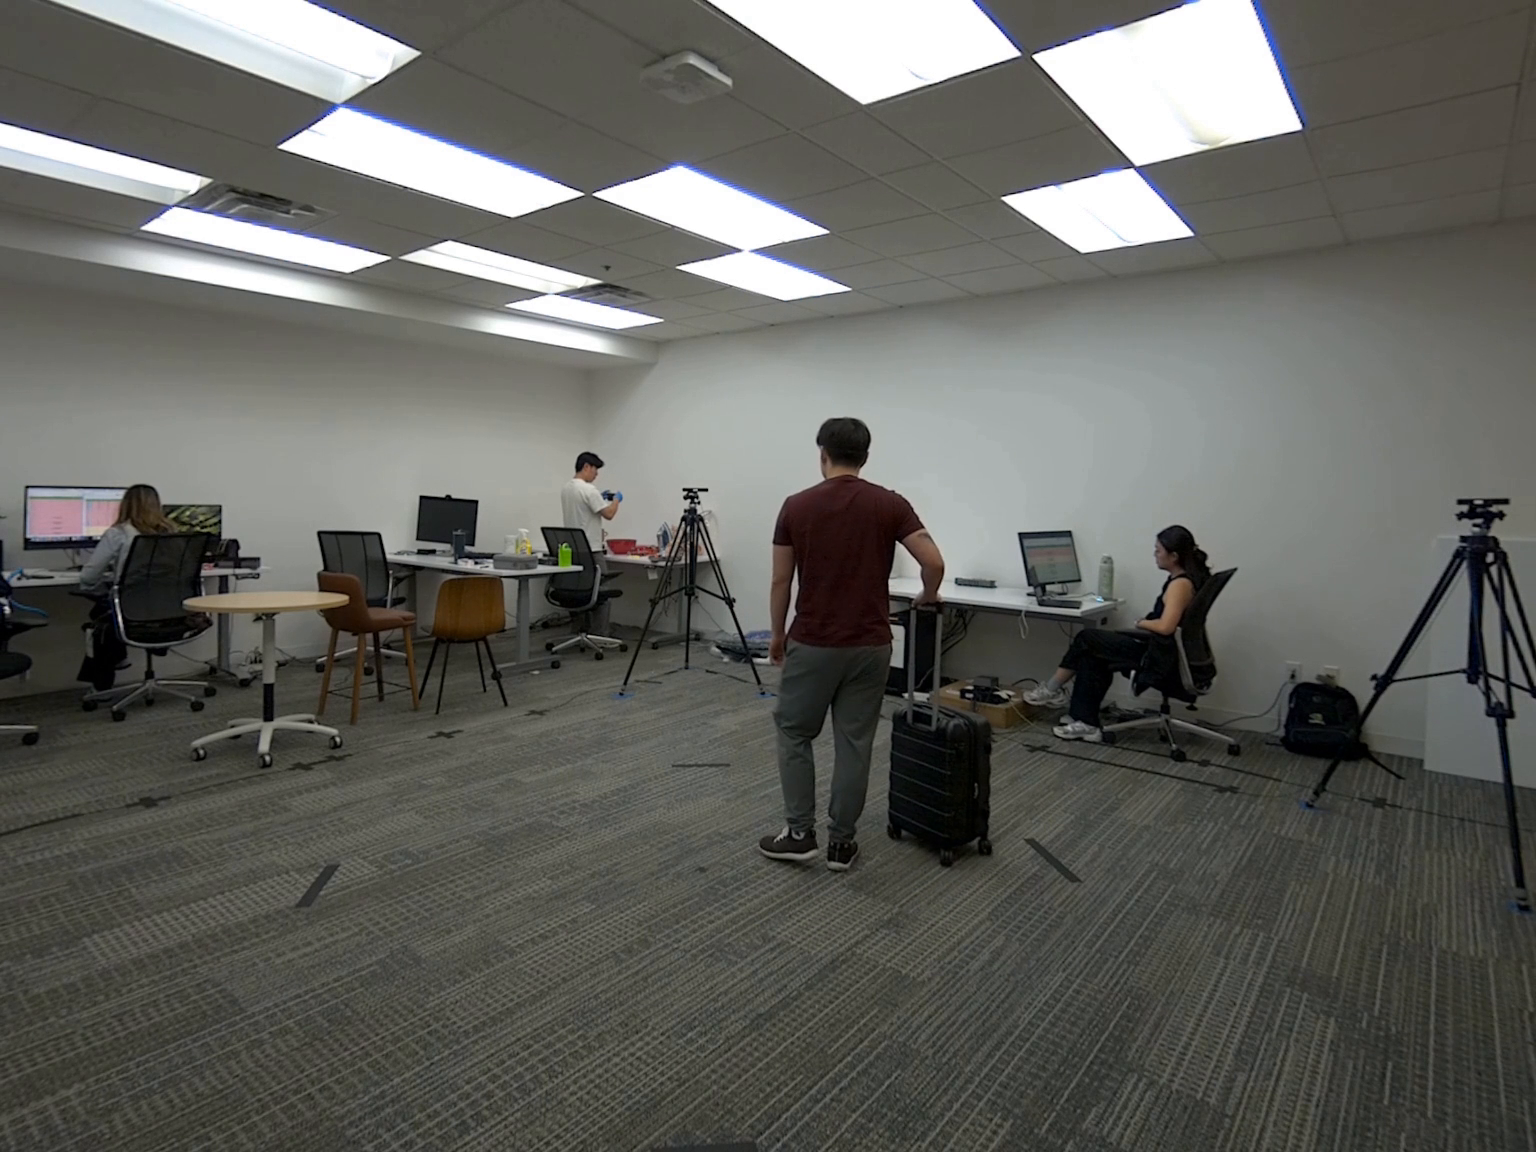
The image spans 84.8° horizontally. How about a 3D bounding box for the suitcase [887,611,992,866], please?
[{"bbox_3d":[0.693,0.586,3.389,0.249,0.979,0.395,4,-1,-32],"label":"suitcase"}]
